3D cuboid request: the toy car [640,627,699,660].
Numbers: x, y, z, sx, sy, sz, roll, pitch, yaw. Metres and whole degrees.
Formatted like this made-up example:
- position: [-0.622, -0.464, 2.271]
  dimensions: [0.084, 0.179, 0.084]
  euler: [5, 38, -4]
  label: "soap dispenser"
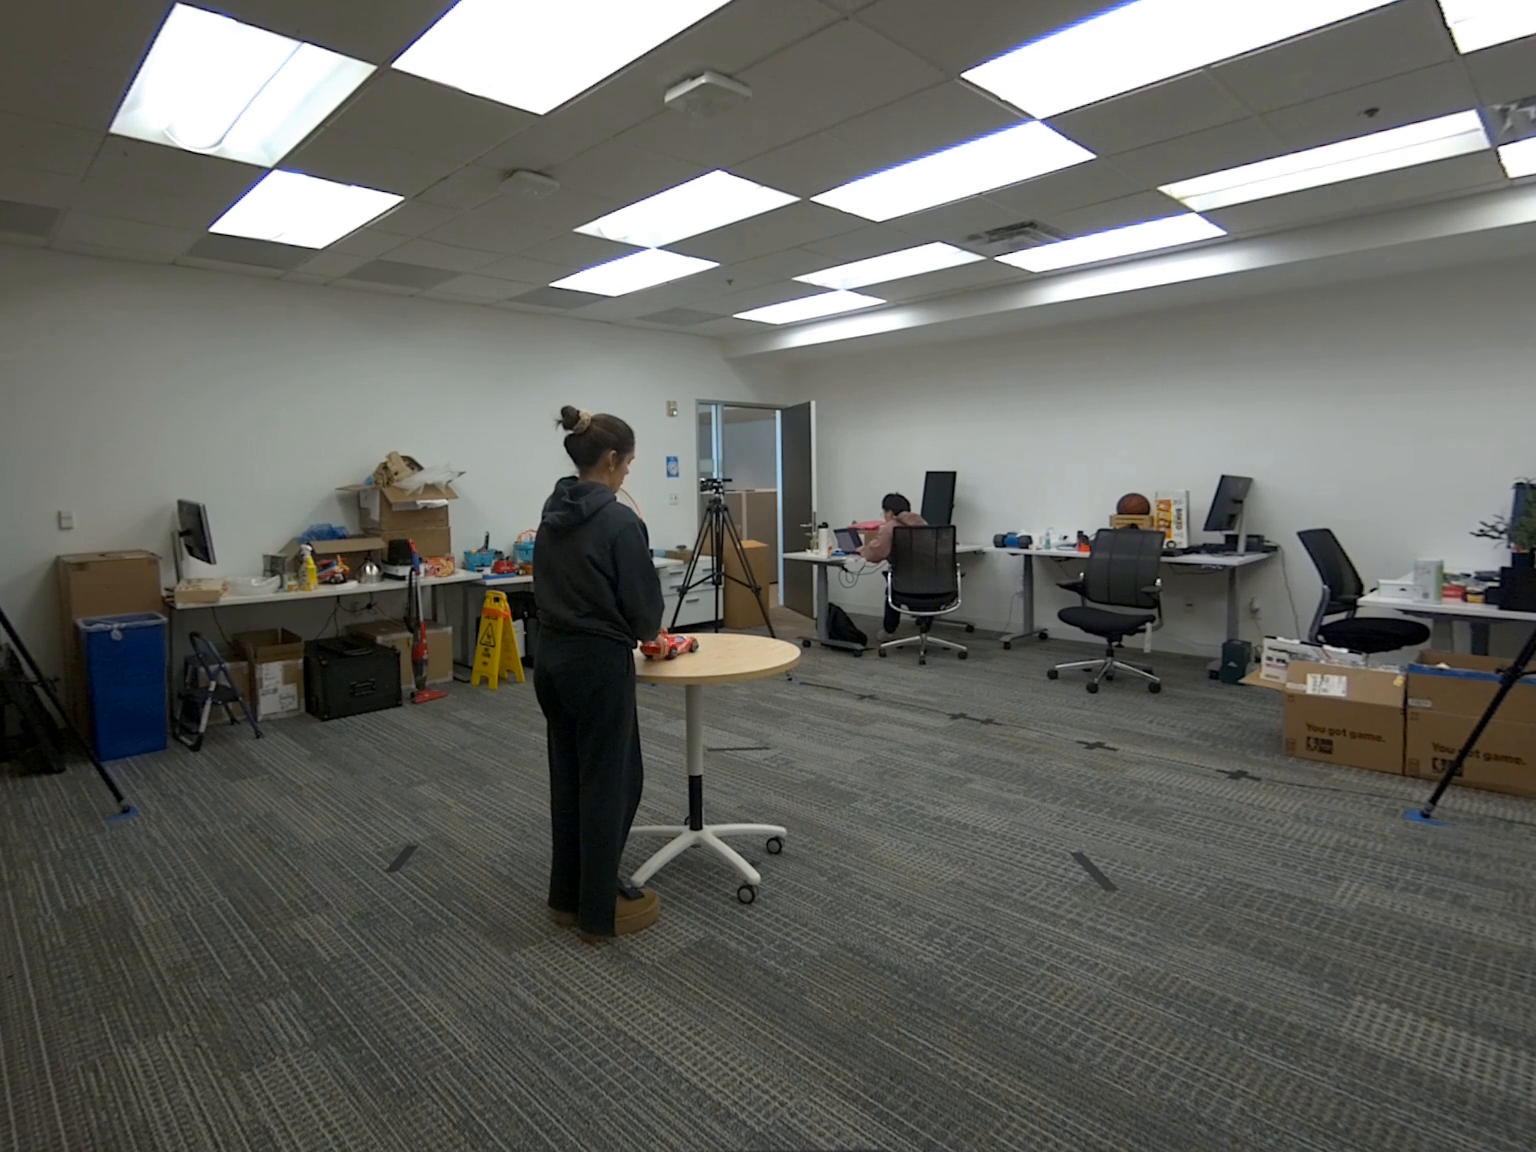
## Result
- position: [-0.349, 0.248, 2.983]
  dimensions: [0.133, 0.083, 0.247]
  euler: [2, -4, 27]
  label: "toy car"
